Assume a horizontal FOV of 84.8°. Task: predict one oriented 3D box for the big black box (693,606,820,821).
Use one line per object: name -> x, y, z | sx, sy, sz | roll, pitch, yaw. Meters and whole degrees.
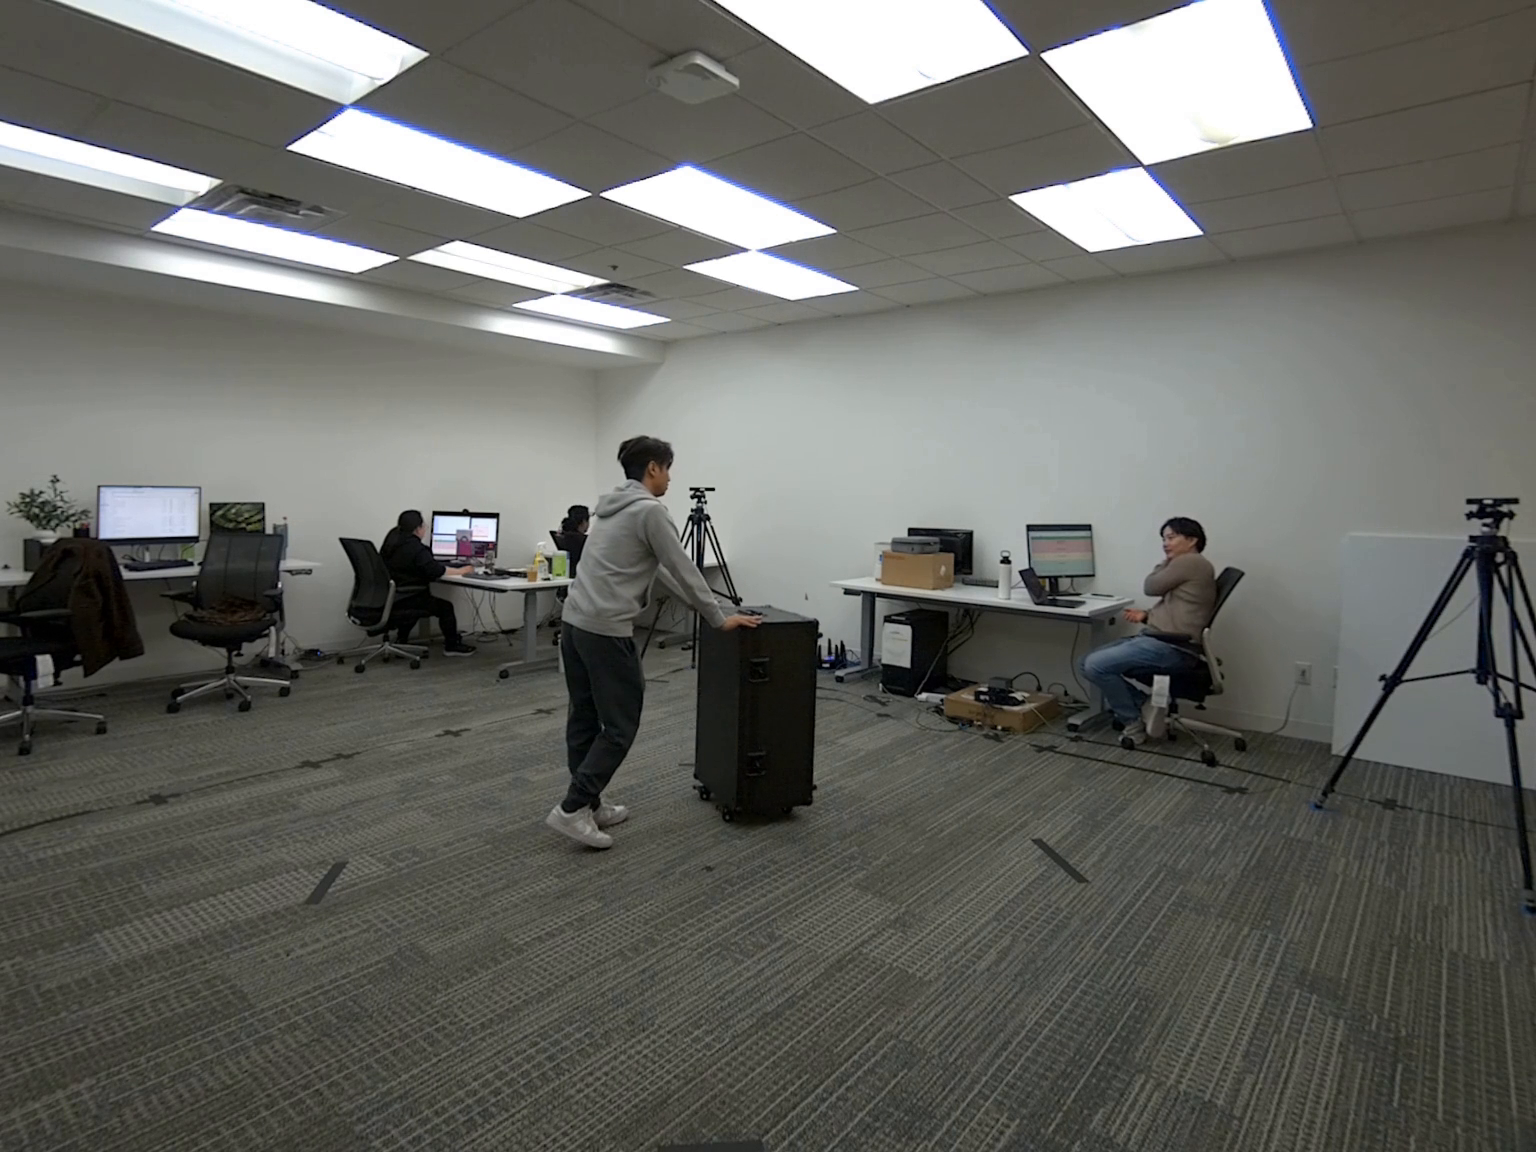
big black box -> -0.071, 0.585, 3.720 | 0.387, 0.860, 0.535 | 1, 3, -24
